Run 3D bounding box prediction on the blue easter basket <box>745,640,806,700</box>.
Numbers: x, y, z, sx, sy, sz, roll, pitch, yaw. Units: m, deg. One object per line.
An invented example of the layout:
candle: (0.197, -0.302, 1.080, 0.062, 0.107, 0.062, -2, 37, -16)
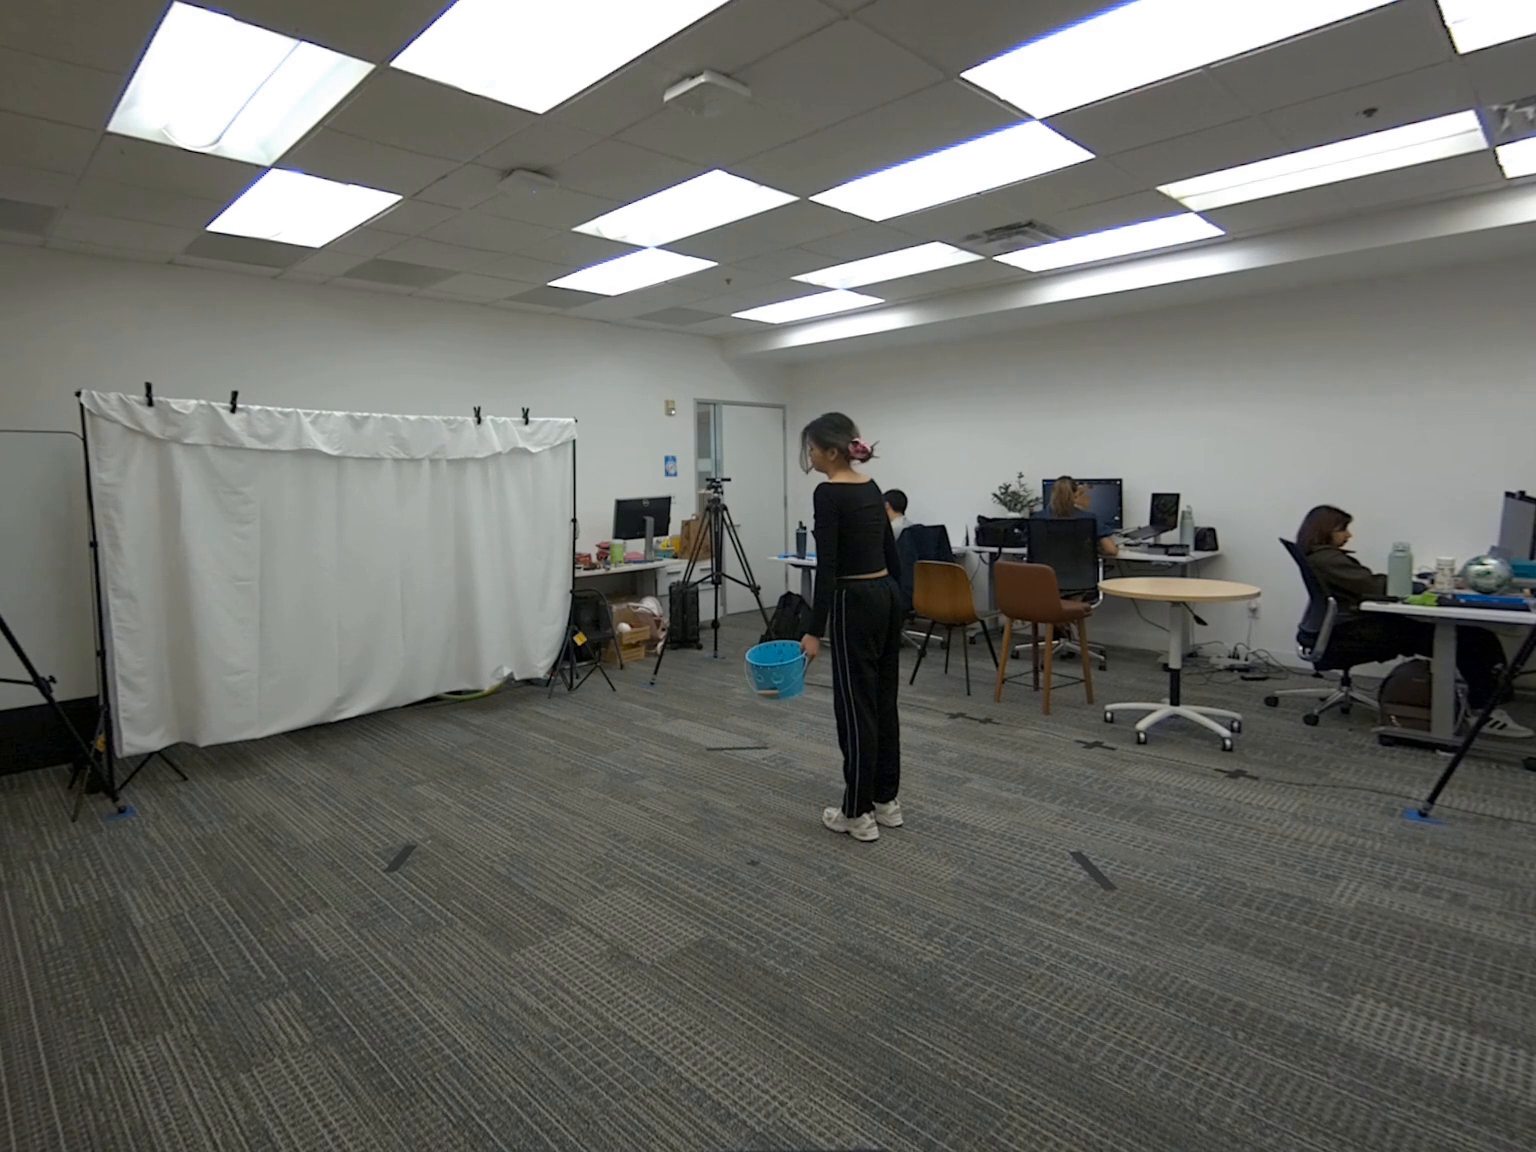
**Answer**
blue easter basket: (0.037, 0.366, 3.226, 0.244, 0.153, 0.247, -9, 15, 1)
